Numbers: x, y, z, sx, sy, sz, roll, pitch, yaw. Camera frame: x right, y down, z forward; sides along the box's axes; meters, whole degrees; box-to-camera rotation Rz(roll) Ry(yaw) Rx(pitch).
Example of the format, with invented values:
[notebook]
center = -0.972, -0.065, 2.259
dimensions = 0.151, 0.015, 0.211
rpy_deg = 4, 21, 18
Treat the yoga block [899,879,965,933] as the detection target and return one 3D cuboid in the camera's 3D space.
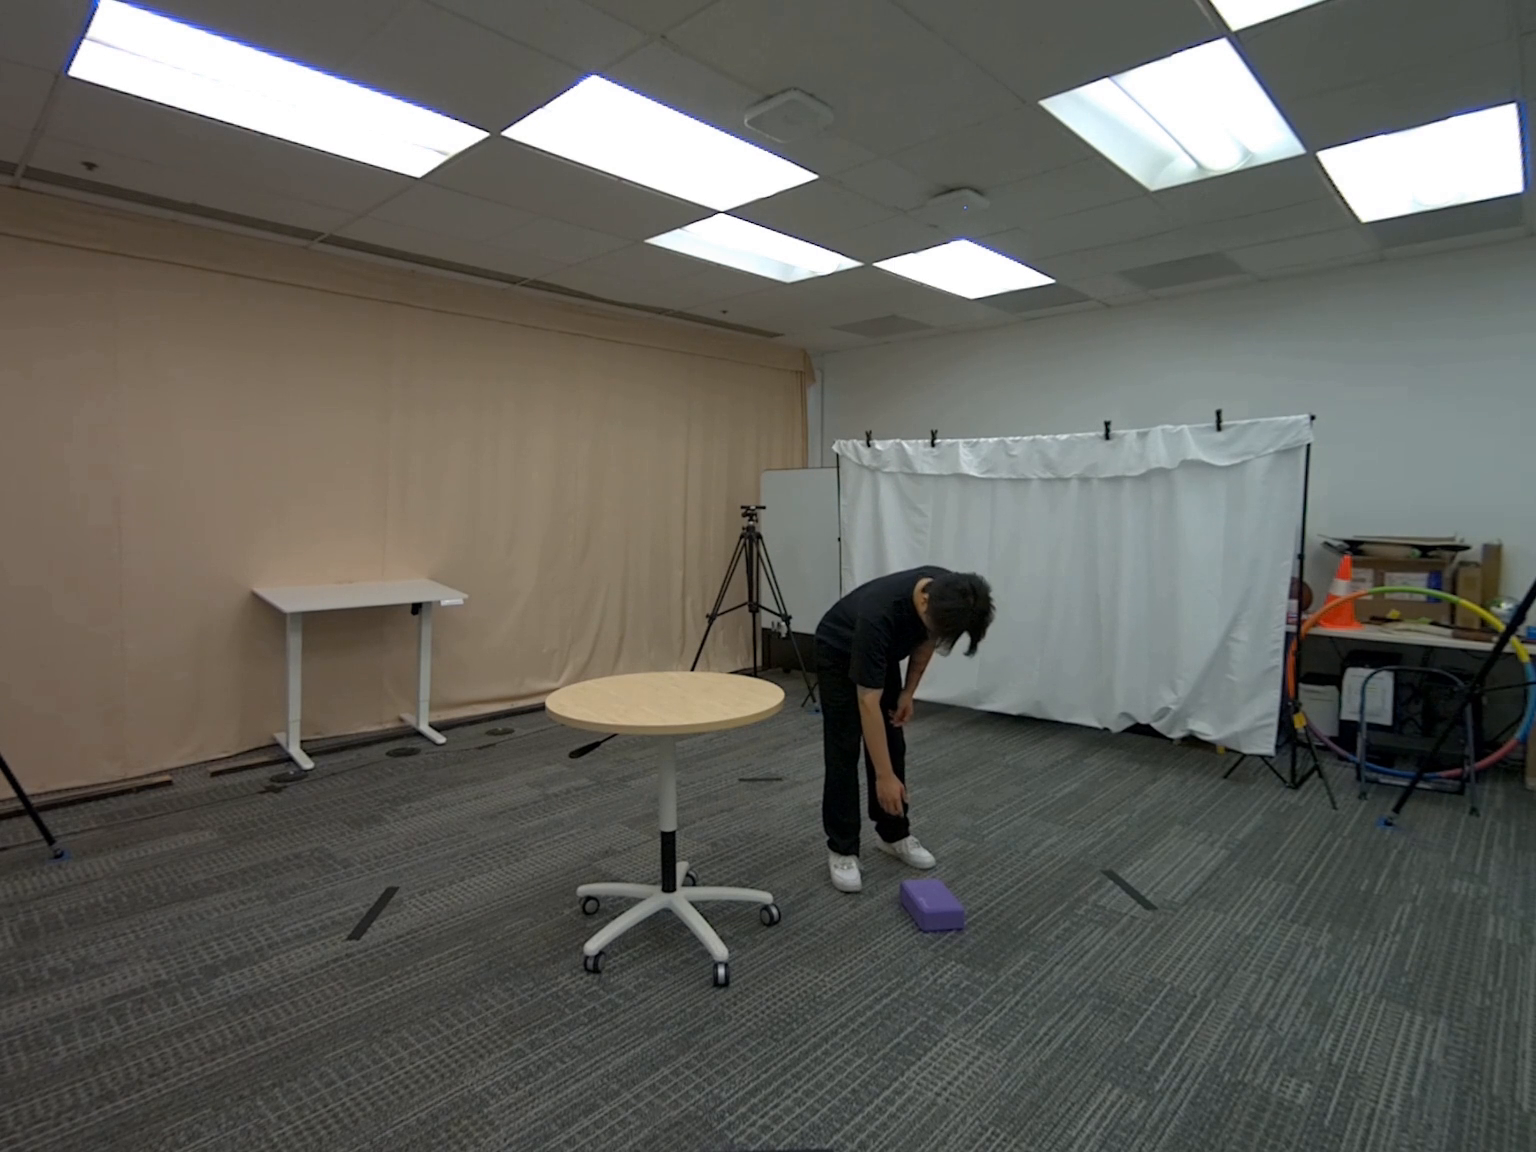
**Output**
[yoga block]
center = 0.555, 1.107, 2.860
dimensions = 0.148, 0.076, 0.232
rpy_deg = -2, 5, -9
